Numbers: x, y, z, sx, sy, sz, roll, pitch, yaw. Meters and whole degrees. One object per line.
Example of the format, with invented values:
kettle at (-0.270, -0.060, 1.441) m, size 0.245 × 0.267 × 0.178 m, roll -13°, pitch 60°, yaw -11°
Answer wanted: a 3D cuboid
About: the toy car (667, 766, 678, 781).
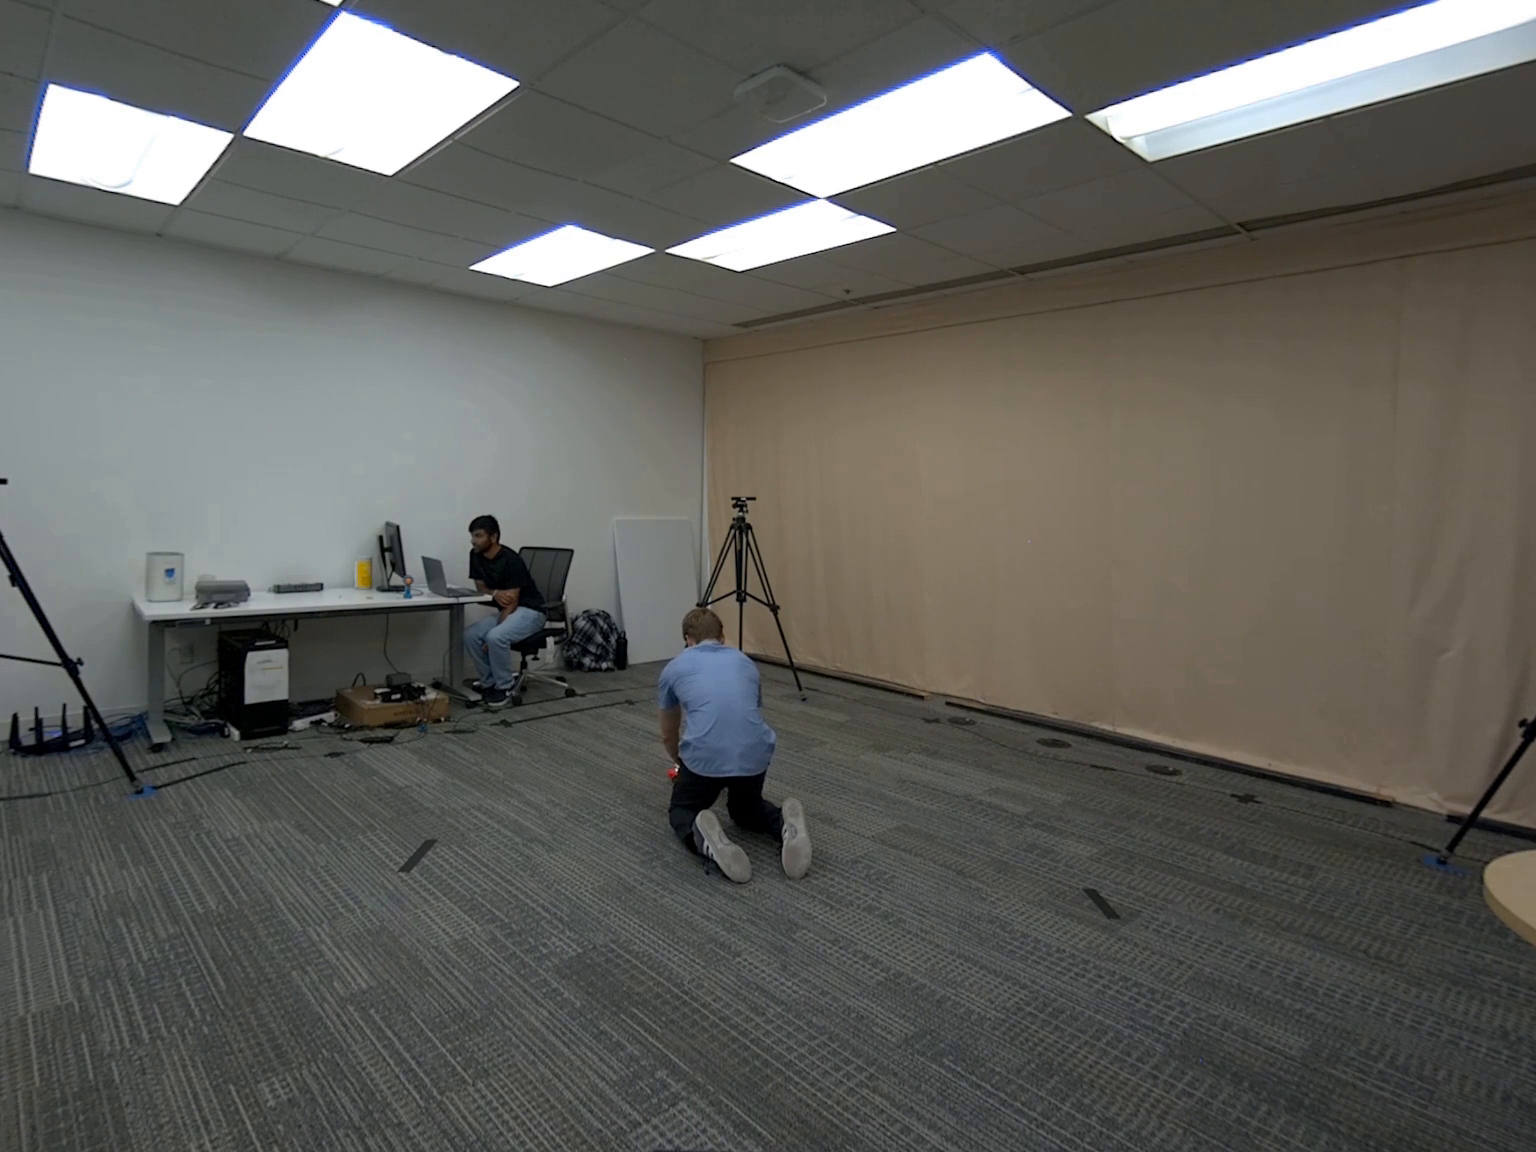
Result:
toy car at (-0.377, 0.986, 4.090) m, size 0.261 × 0.083 × 0.128 m, roll 19°, pitch 12°, yaw 30°
